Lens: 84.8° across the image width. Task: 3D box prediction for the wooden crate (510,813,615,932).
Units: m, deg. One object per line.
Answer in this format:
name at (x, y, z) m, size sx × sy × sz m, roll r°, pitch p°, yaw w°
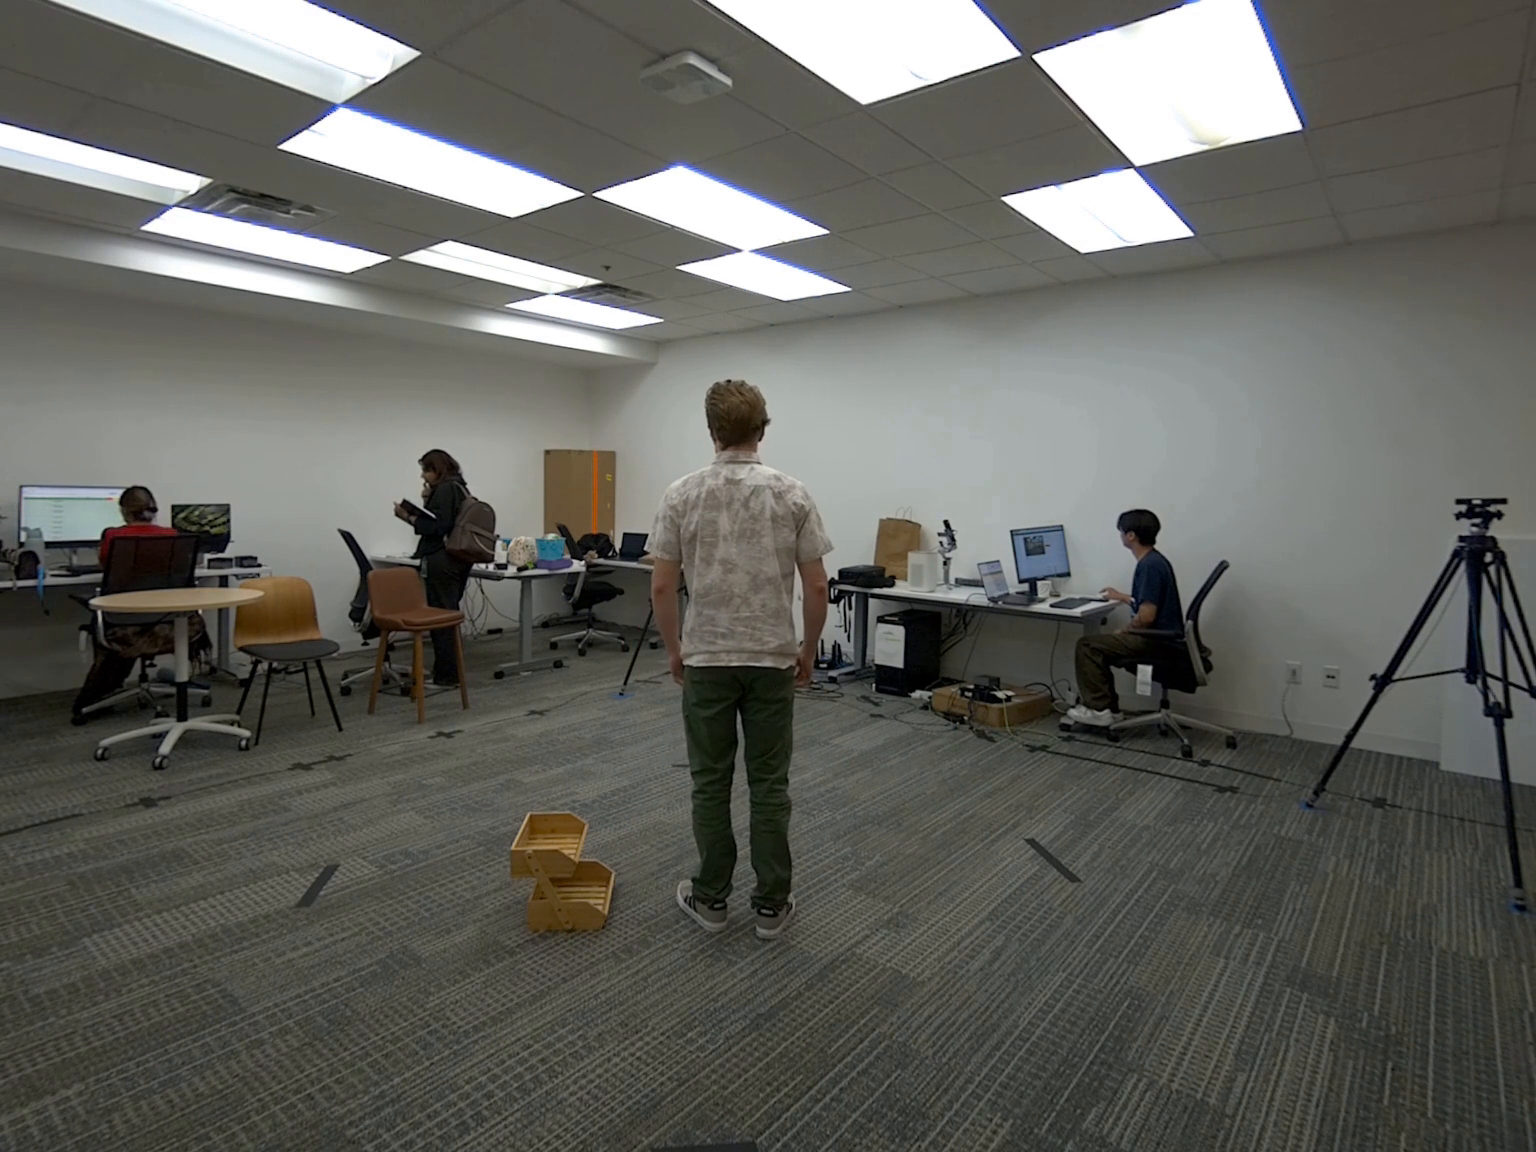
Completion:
wooden crate at (-0.674, 0.959, 2.804) m, size 0.301 × 0.272 × 0.327 m, roll 1°, pitch 4°, yaw -5°
